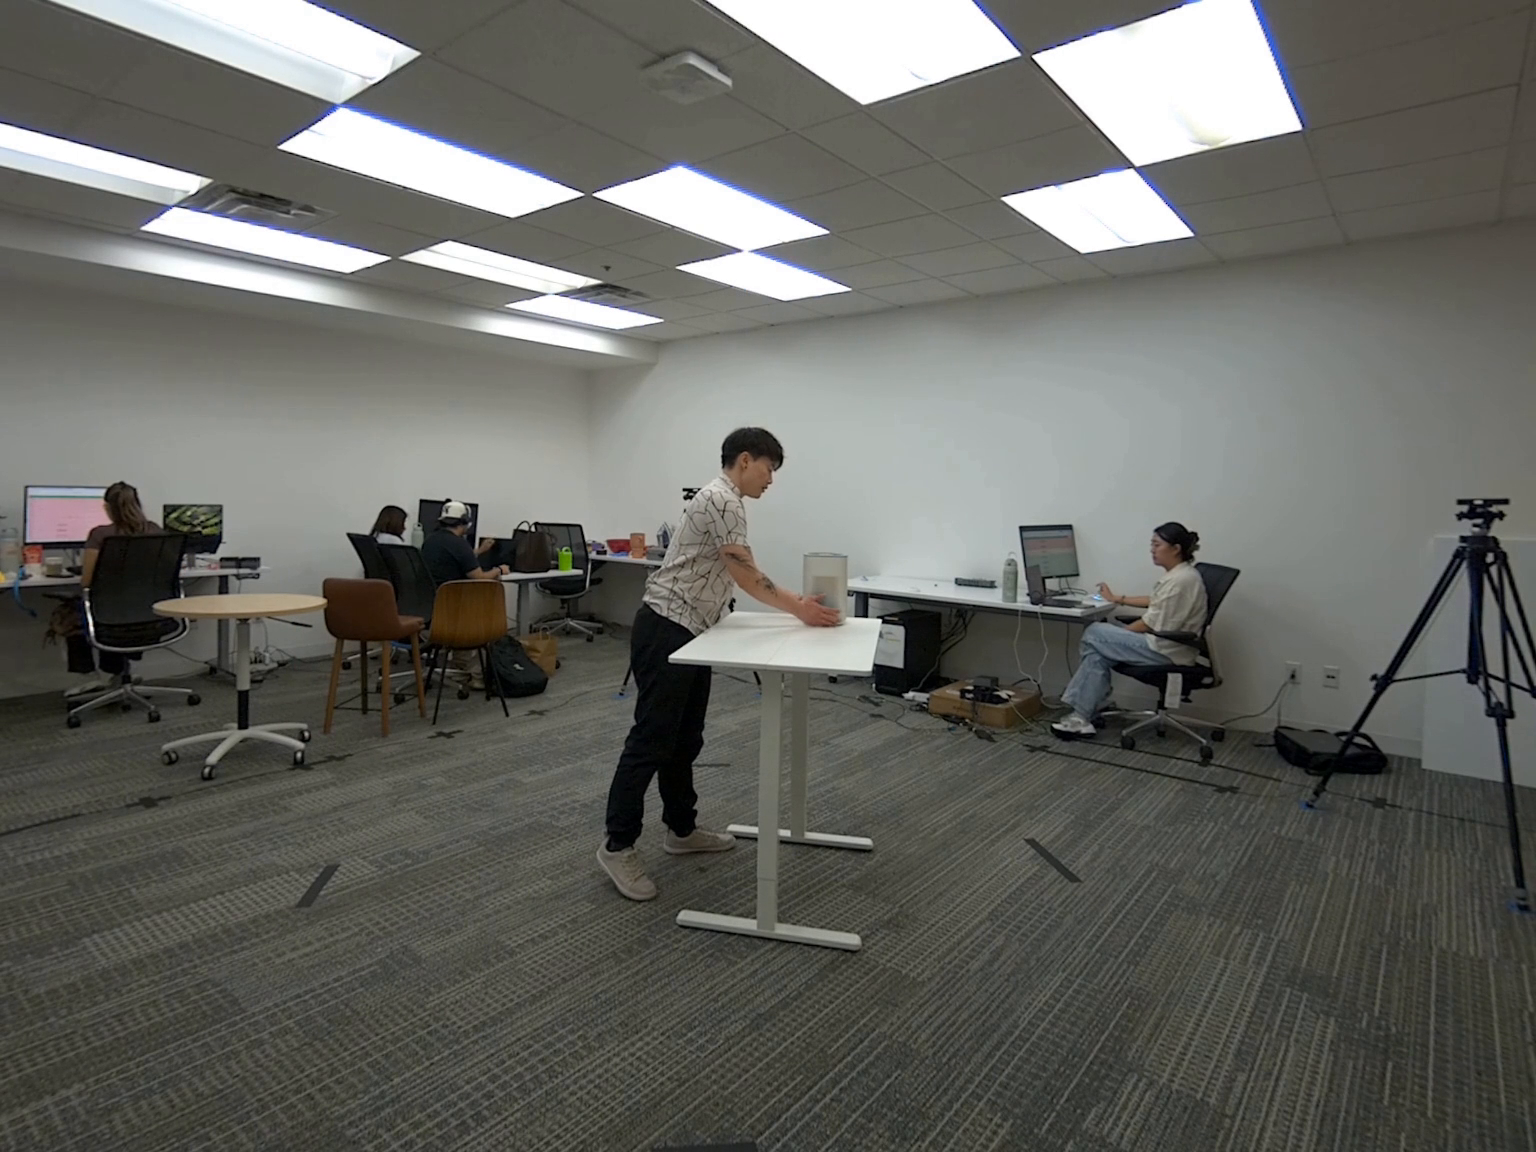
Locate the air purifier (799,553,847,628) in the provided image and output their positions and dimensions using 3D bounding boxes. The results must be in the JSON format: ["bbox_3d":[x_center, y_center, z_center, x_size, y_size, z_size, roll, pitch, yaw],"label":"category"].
[{"bbox_3d":[0.208,0.049,3.257,0.172,0.265,0.171,1,3,4],"label":"air purifier"}]
